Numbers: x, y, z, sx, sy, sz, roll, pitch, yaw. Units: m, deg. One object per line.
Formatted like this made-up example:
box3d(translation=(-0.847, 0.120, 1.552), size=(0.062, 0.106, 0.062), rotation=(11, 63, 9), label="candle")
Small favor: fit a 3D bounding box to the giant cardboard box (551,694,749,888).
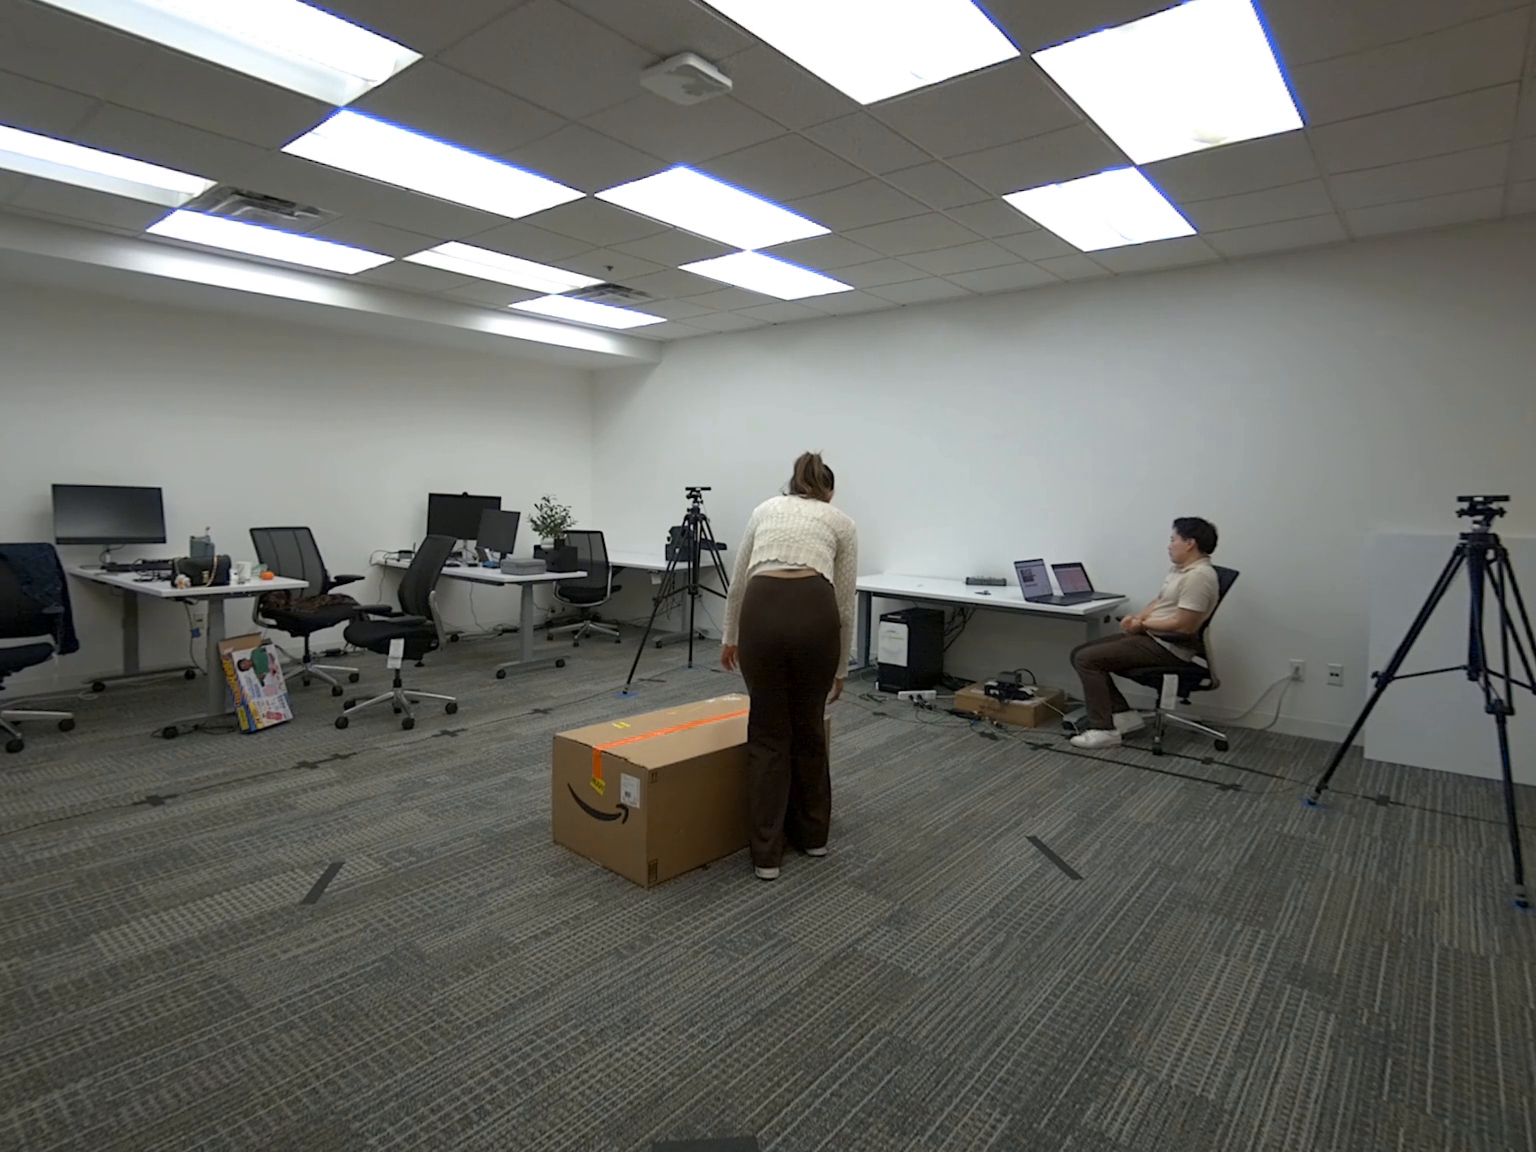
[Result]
box3d(translation=(-0.304, 0.813, 3.478), size=(0.597, 0.425, 0.995), rotation=(4, 6, 43), label="giant cardboard box")
